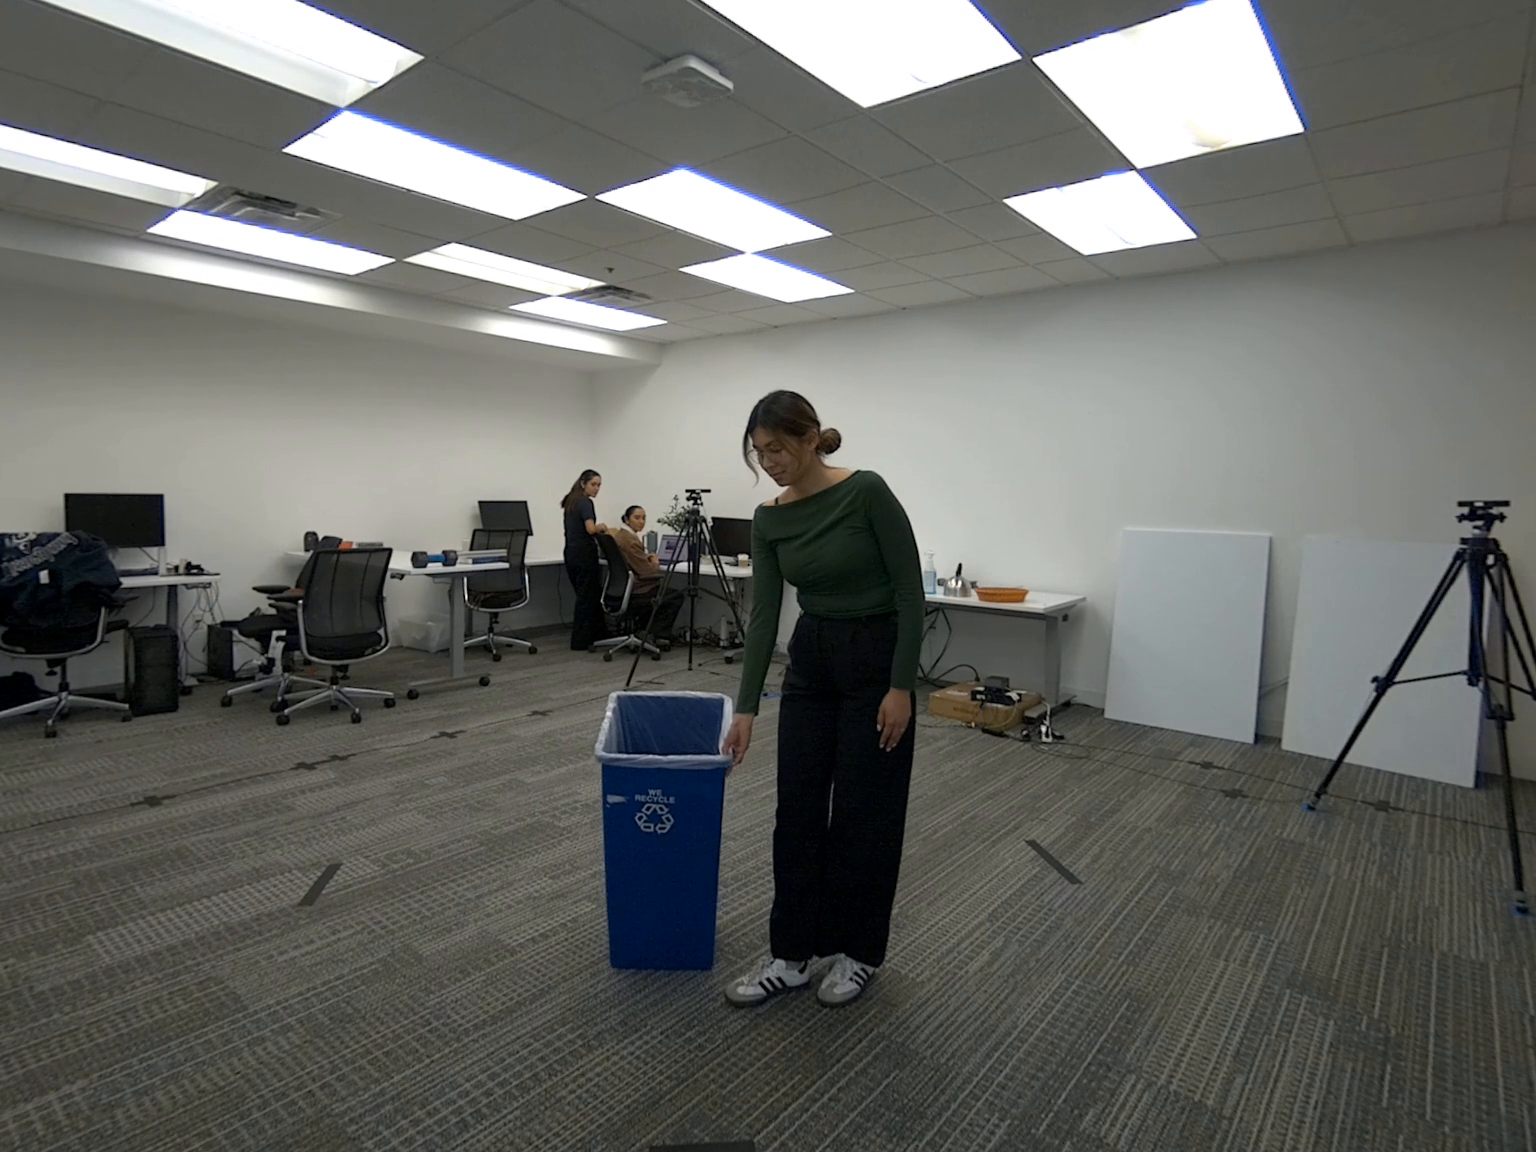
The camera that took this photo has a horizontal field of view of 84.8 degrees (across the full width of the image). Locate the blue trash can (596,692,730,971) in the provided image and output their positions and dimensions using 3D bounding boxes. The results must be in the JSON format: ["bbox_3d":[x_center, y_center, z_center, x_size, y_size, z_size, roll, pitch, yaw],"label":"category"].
[{"bbox_3d":[-0.312,0.750,2.501,0.377,0.702,0.381,1,18,-3],"label":"blue trash can"}]
